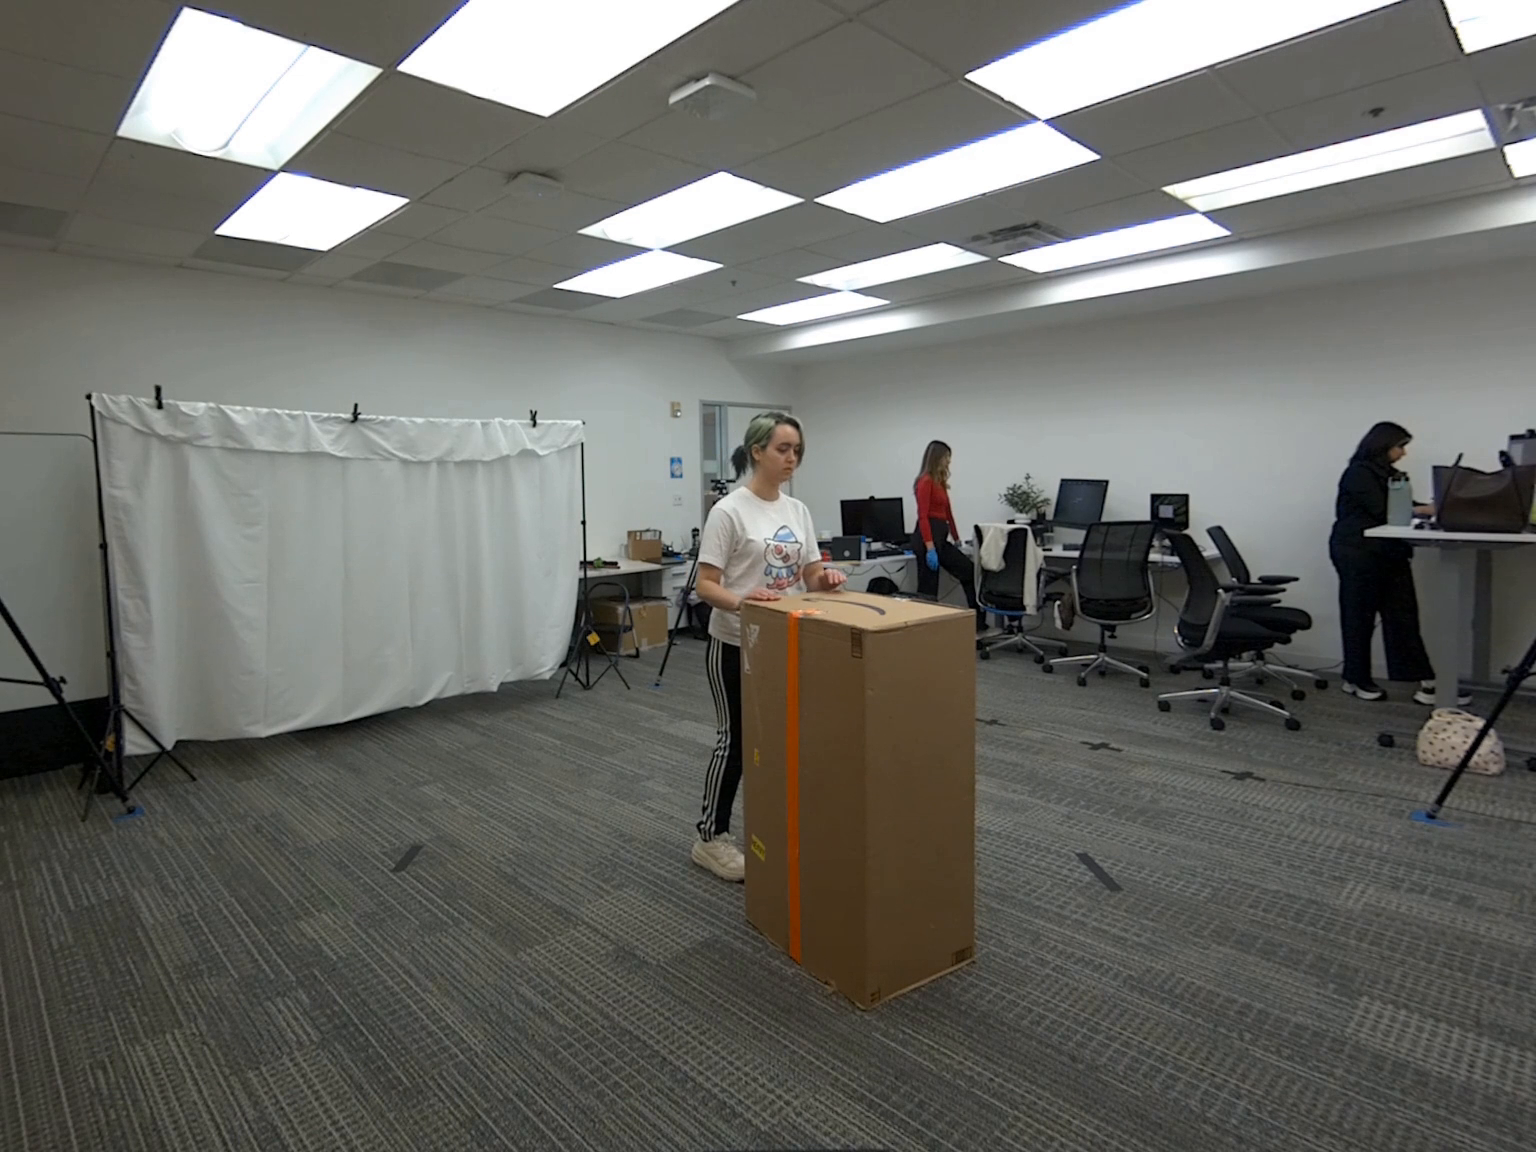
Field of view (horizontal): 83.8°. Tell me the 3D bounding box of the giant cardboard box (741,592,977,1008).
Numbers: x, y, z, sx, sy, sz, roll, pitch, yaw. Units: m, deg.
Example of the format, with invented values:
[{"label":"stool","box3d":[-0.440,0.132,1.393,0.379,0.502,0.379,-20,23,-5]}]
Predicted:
[{"label":"giant cardboard box","box3d":[0.259,0.599,2.545,0.435,1.023,0.601,-4,5,-35]}]
